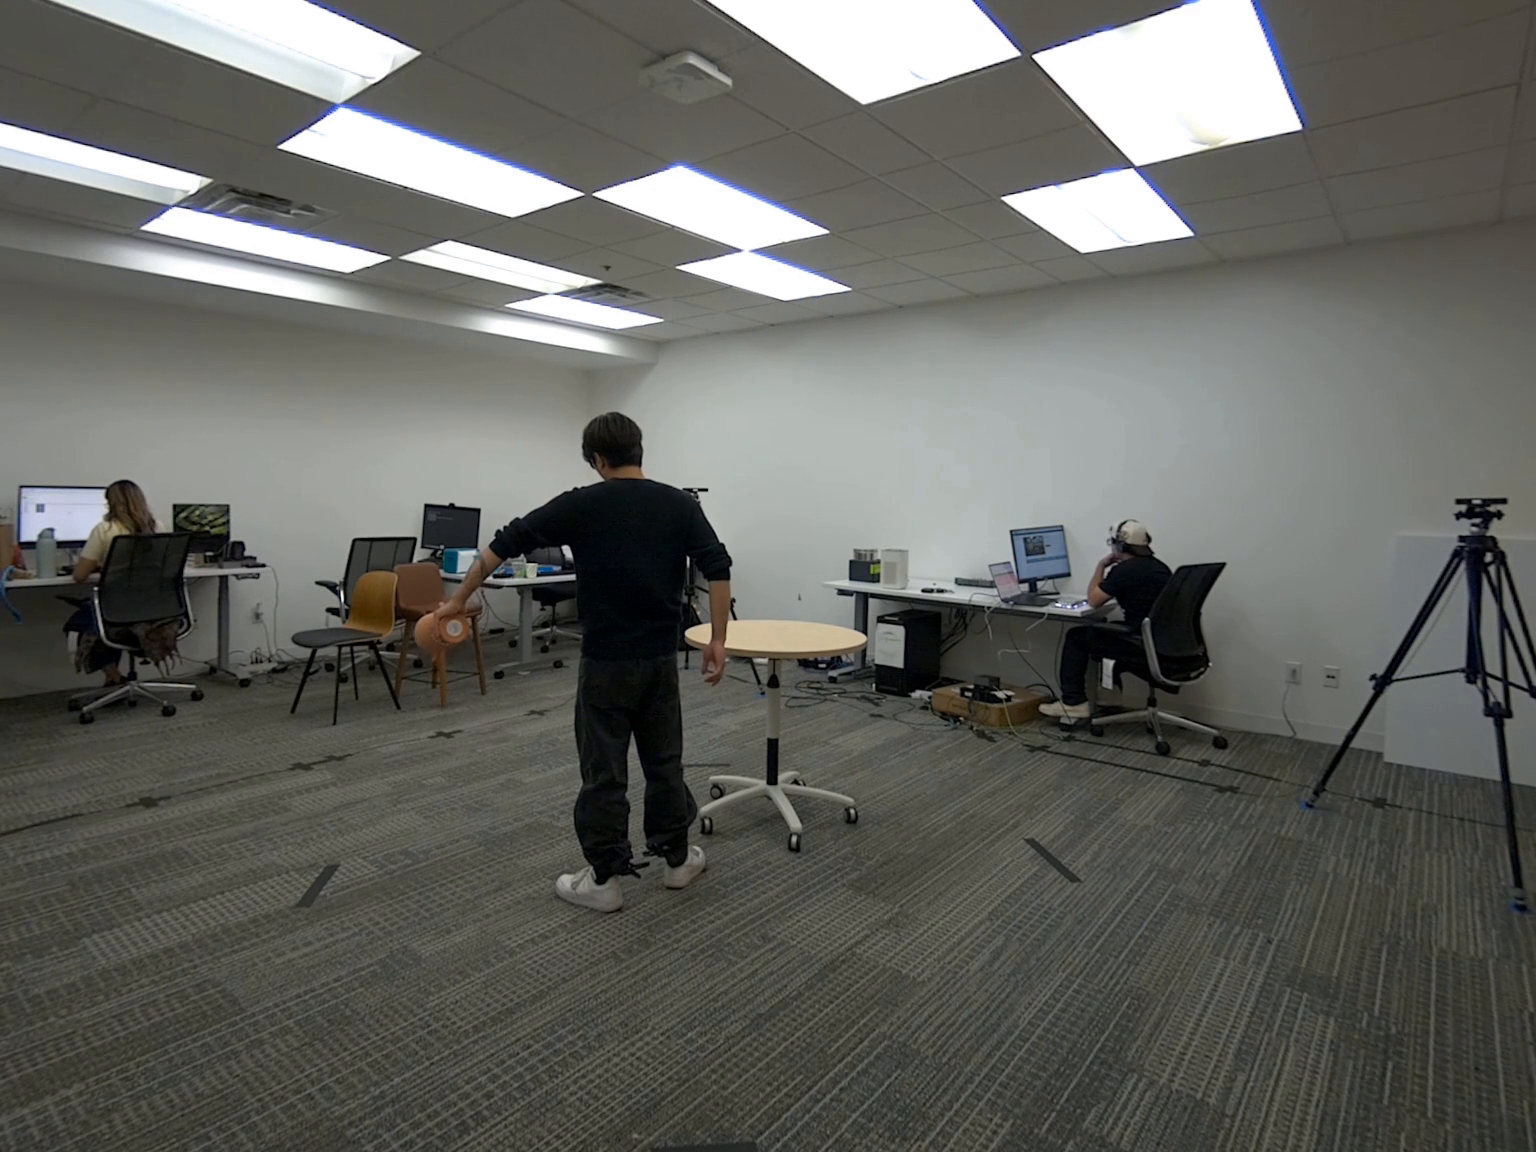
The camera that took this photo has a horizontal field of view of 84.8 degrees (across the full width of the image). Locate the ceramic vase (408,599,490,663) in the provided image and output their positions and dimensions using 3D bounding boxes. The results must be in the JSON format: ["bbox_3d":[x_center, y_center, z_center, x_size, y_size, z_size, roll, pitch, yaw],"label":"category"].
[{"bbox_3d":[-1.063,0.176,2.794,0.134,0.156,0.225,-39,16,-35],"label":"ceramic vase"}]
